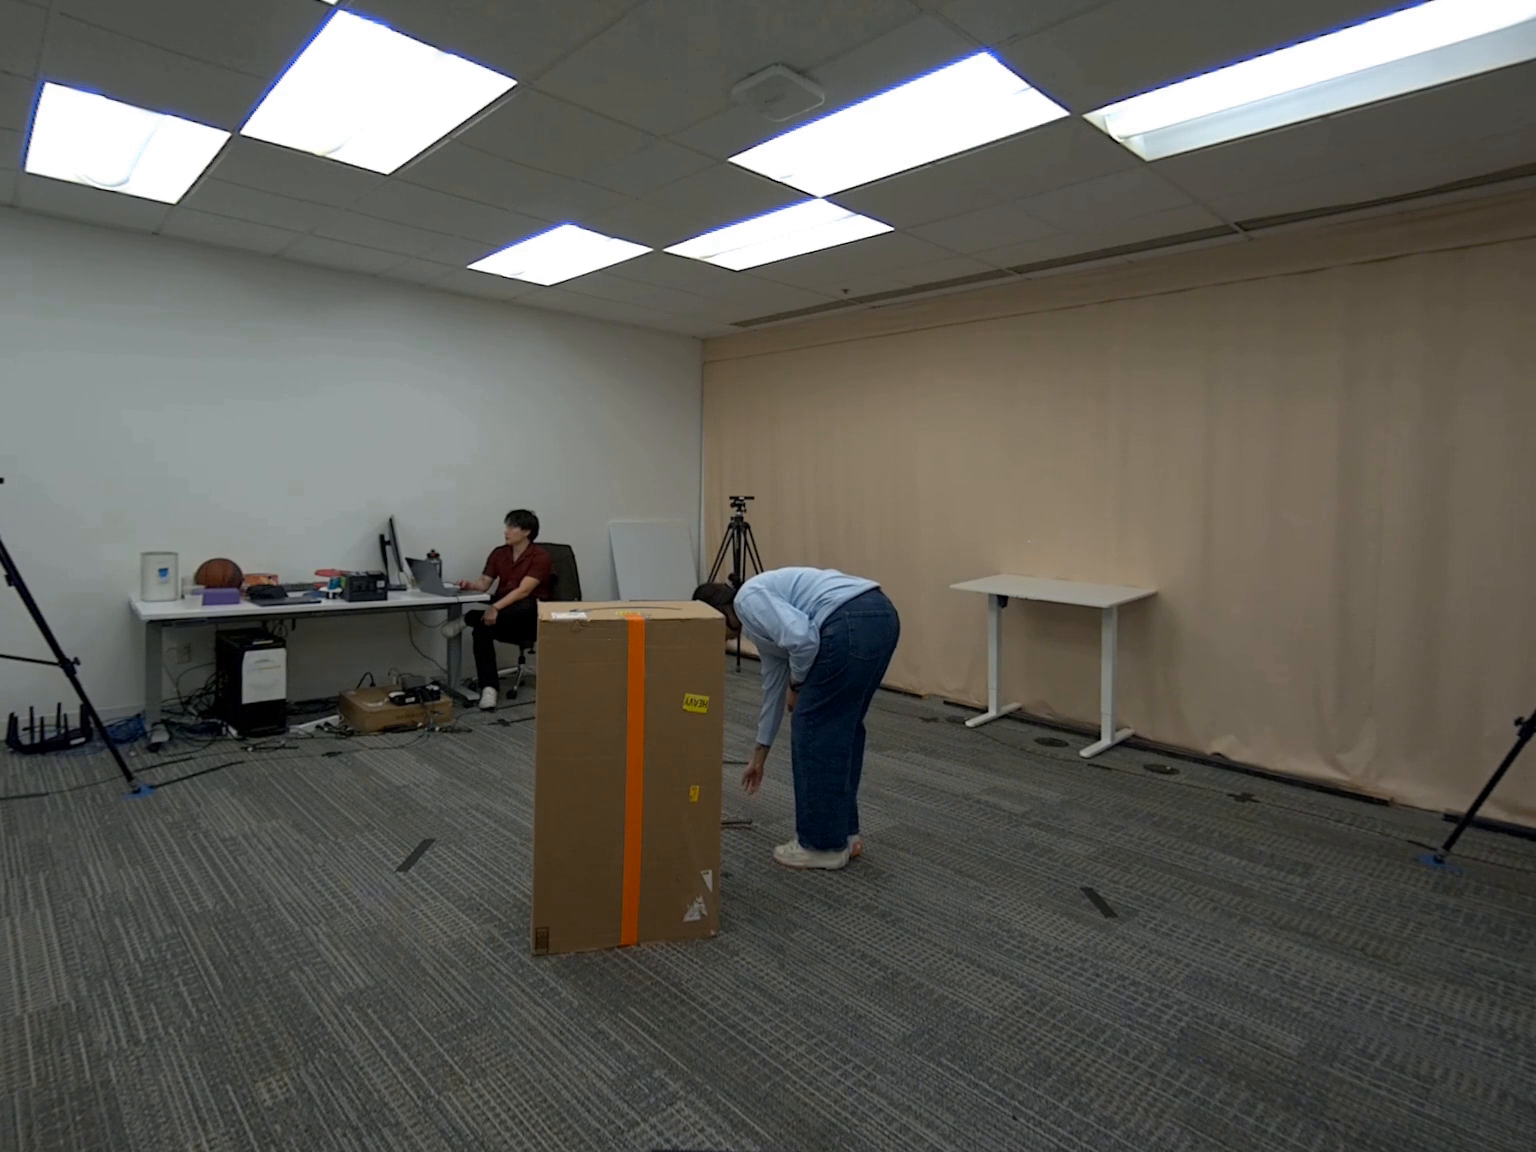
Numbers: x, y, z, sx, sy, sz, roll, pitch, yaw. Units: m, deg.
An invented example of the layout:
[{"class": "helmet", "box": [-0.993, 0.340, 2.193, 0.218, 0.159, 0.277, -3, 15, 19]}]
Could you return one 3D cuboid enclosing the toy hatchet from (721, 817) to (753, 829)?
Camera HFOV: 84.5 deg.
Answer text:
[{"class": "toy hatchet", "box": [-0.202, 1.041, 3.511, 0.271, 0.029, 0.130, -1, -1, 5]}]
